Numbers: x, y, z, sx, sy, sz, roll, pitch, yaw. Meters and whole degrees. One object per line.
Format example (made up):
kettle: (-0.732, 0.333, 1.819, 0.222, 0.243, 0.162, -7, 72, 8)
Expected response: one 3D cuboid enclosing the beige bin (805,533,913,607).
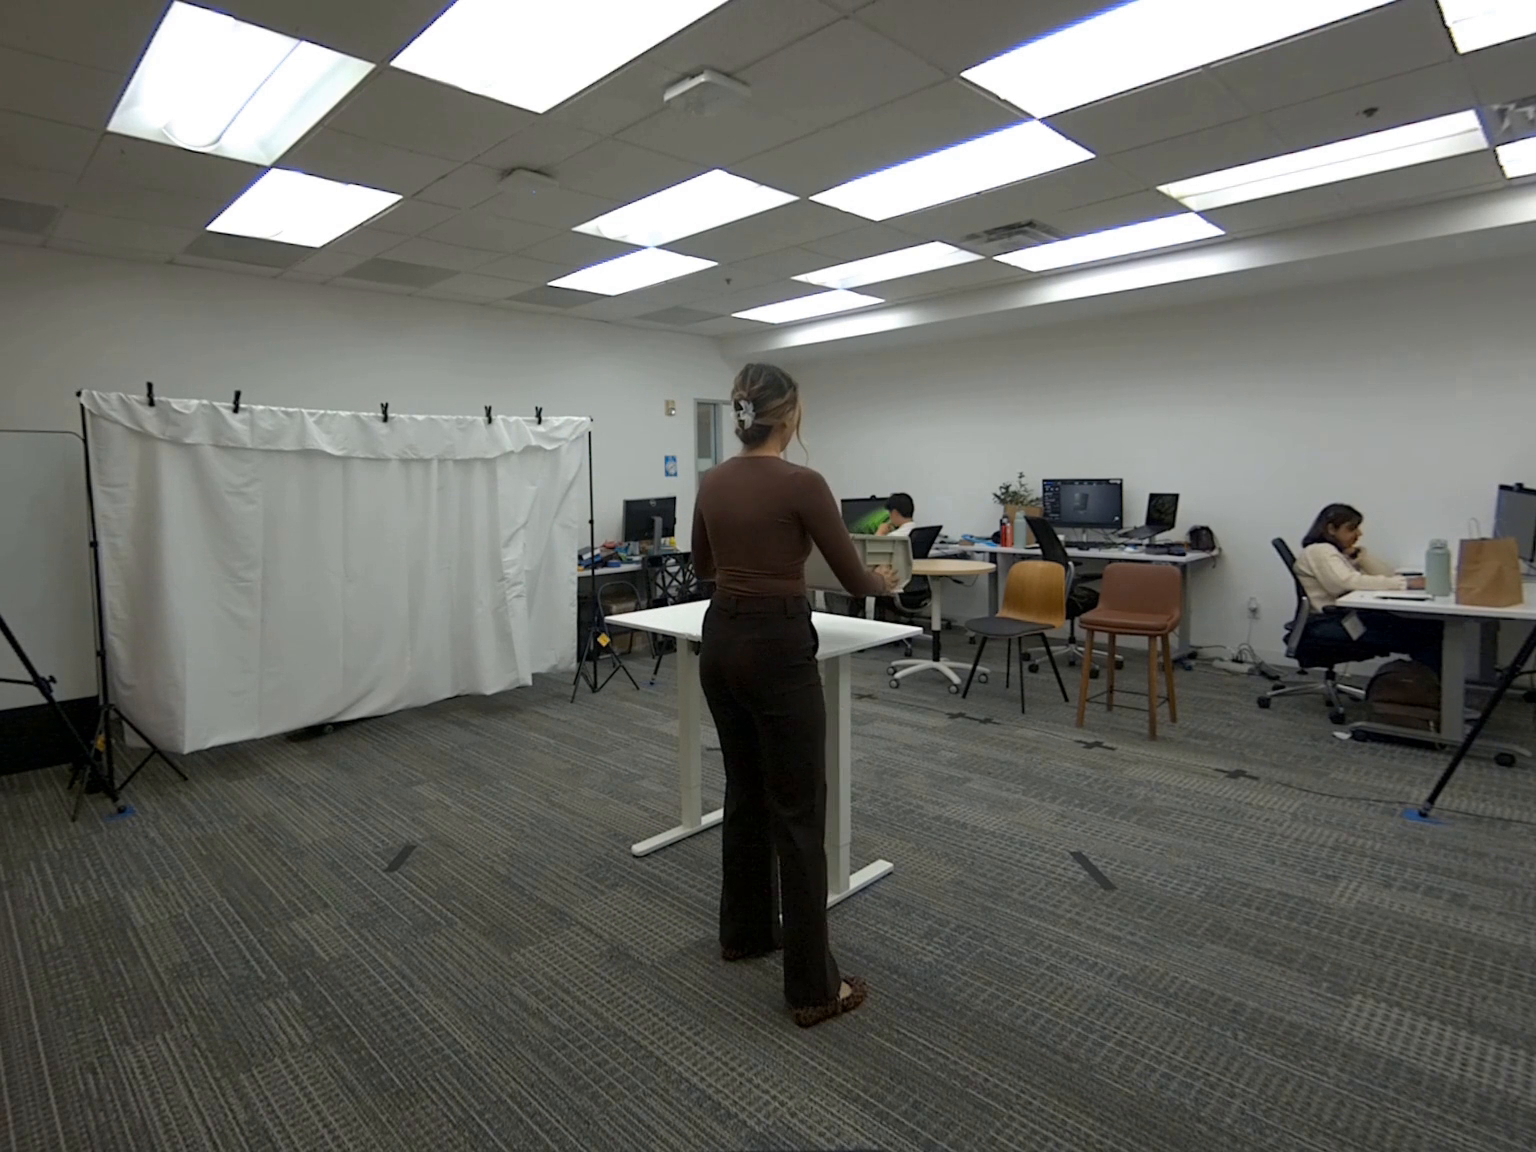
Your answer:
beige bin: (0.194, -0.048, 2.742, 0.435, 0.189, 0.367, 5, 4, 39)
